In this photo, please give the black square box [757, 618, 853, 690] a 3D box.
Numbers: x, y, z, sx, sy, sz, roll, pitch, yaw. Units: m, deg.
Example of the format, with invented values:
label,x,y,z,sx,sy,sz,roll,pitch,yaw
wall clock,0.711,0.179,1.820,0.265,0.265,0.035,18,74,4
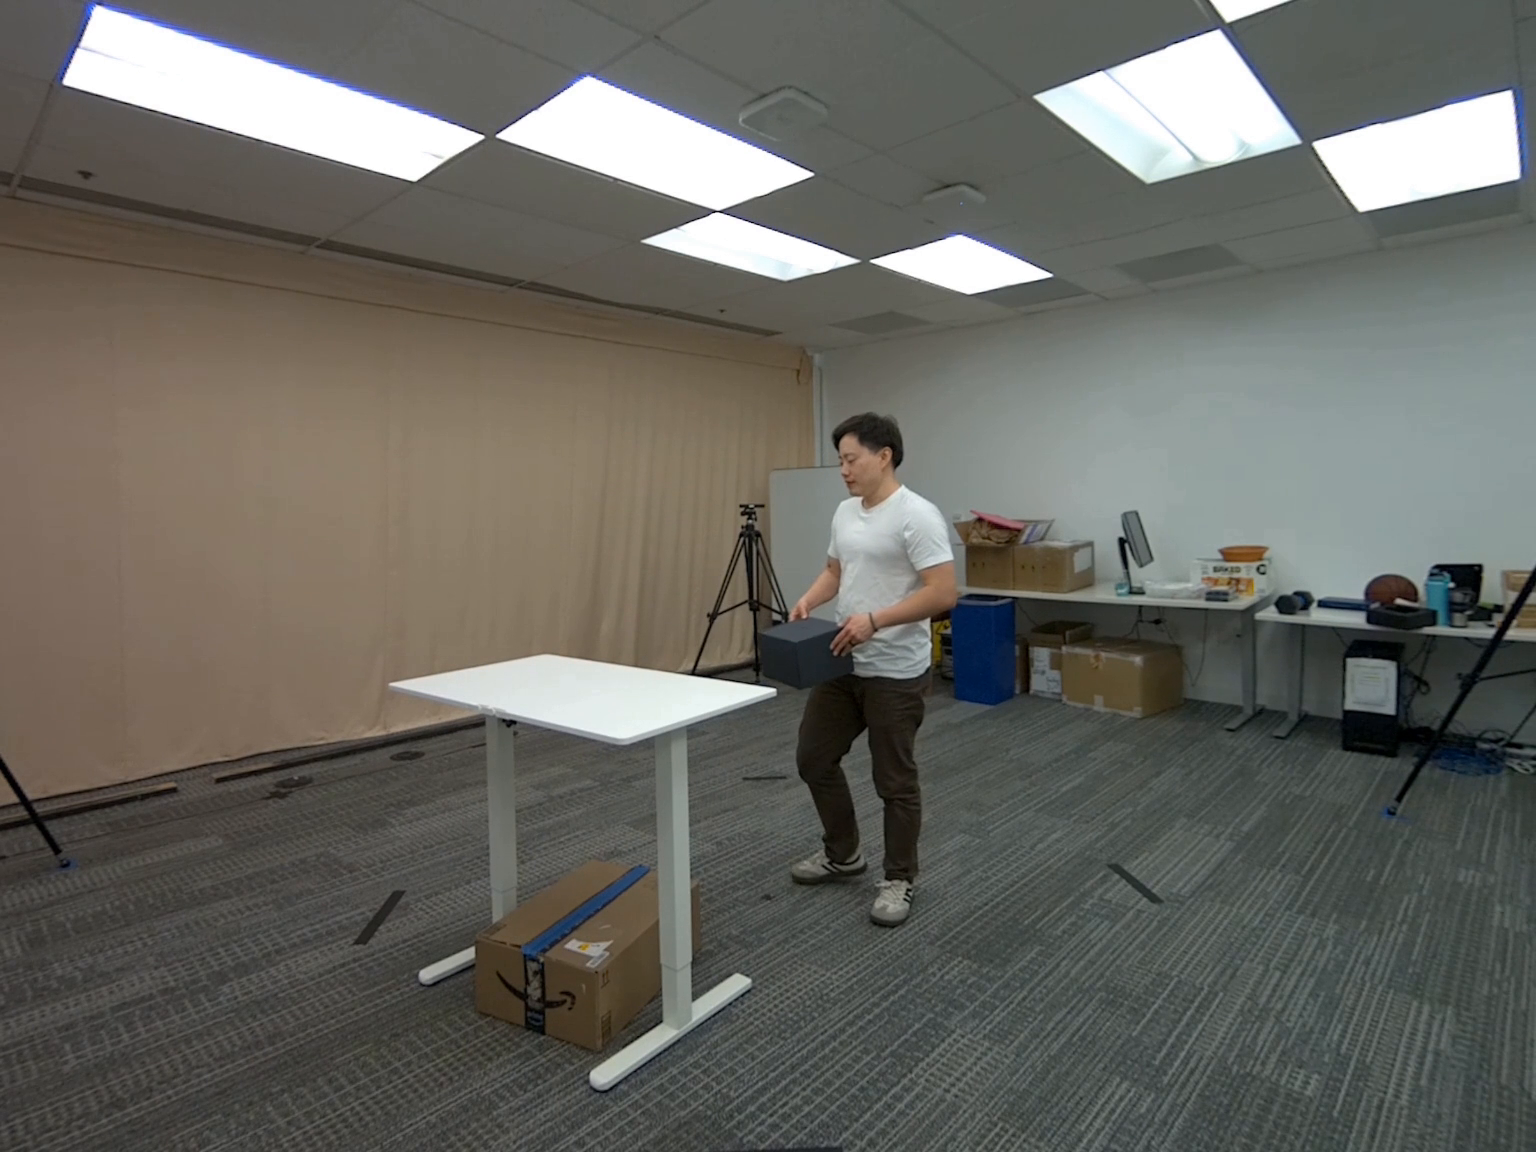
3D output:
label,x,y,z,sx,sy,sz,roll,pitch,yaw
black square box,0.118,0.247,2.736,0.212,0.155,0.234,-13,10,-29
